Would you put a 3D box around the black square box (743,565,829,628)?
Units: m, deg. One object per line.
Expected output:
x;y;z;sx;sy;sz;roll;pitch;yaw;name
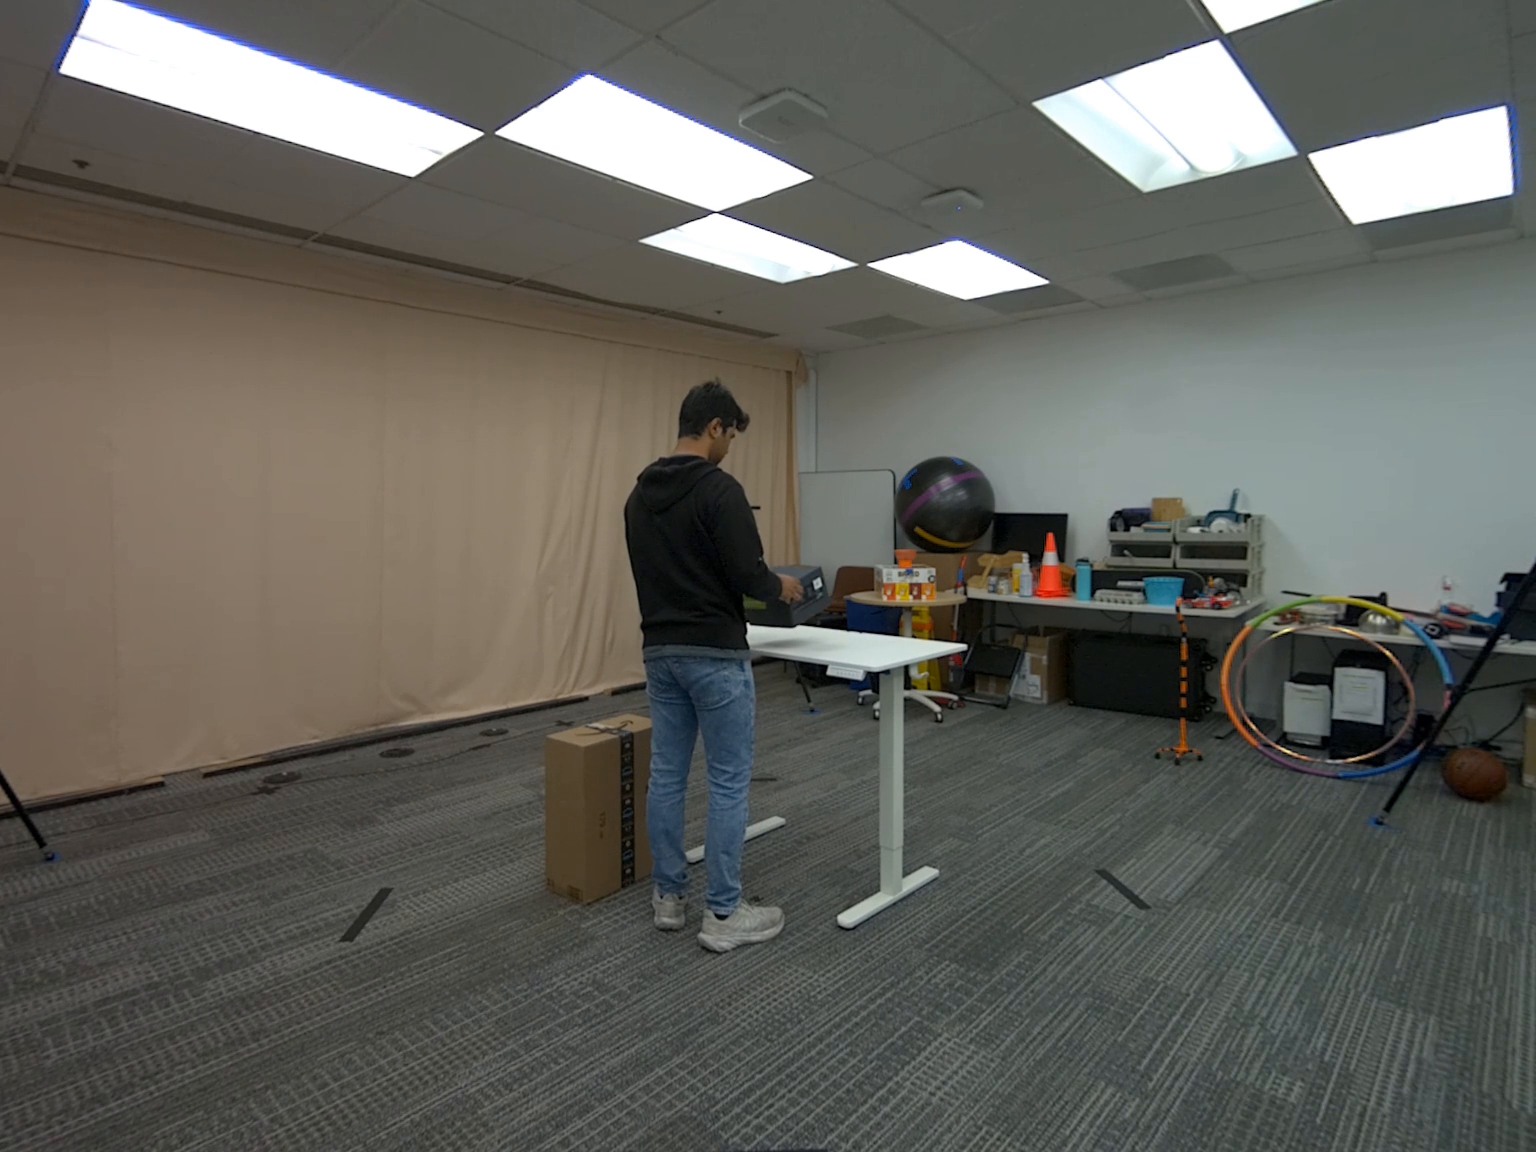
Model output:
0.055;0.076;3.102;0.235;0.154;0.212;1;21;45;black square box
